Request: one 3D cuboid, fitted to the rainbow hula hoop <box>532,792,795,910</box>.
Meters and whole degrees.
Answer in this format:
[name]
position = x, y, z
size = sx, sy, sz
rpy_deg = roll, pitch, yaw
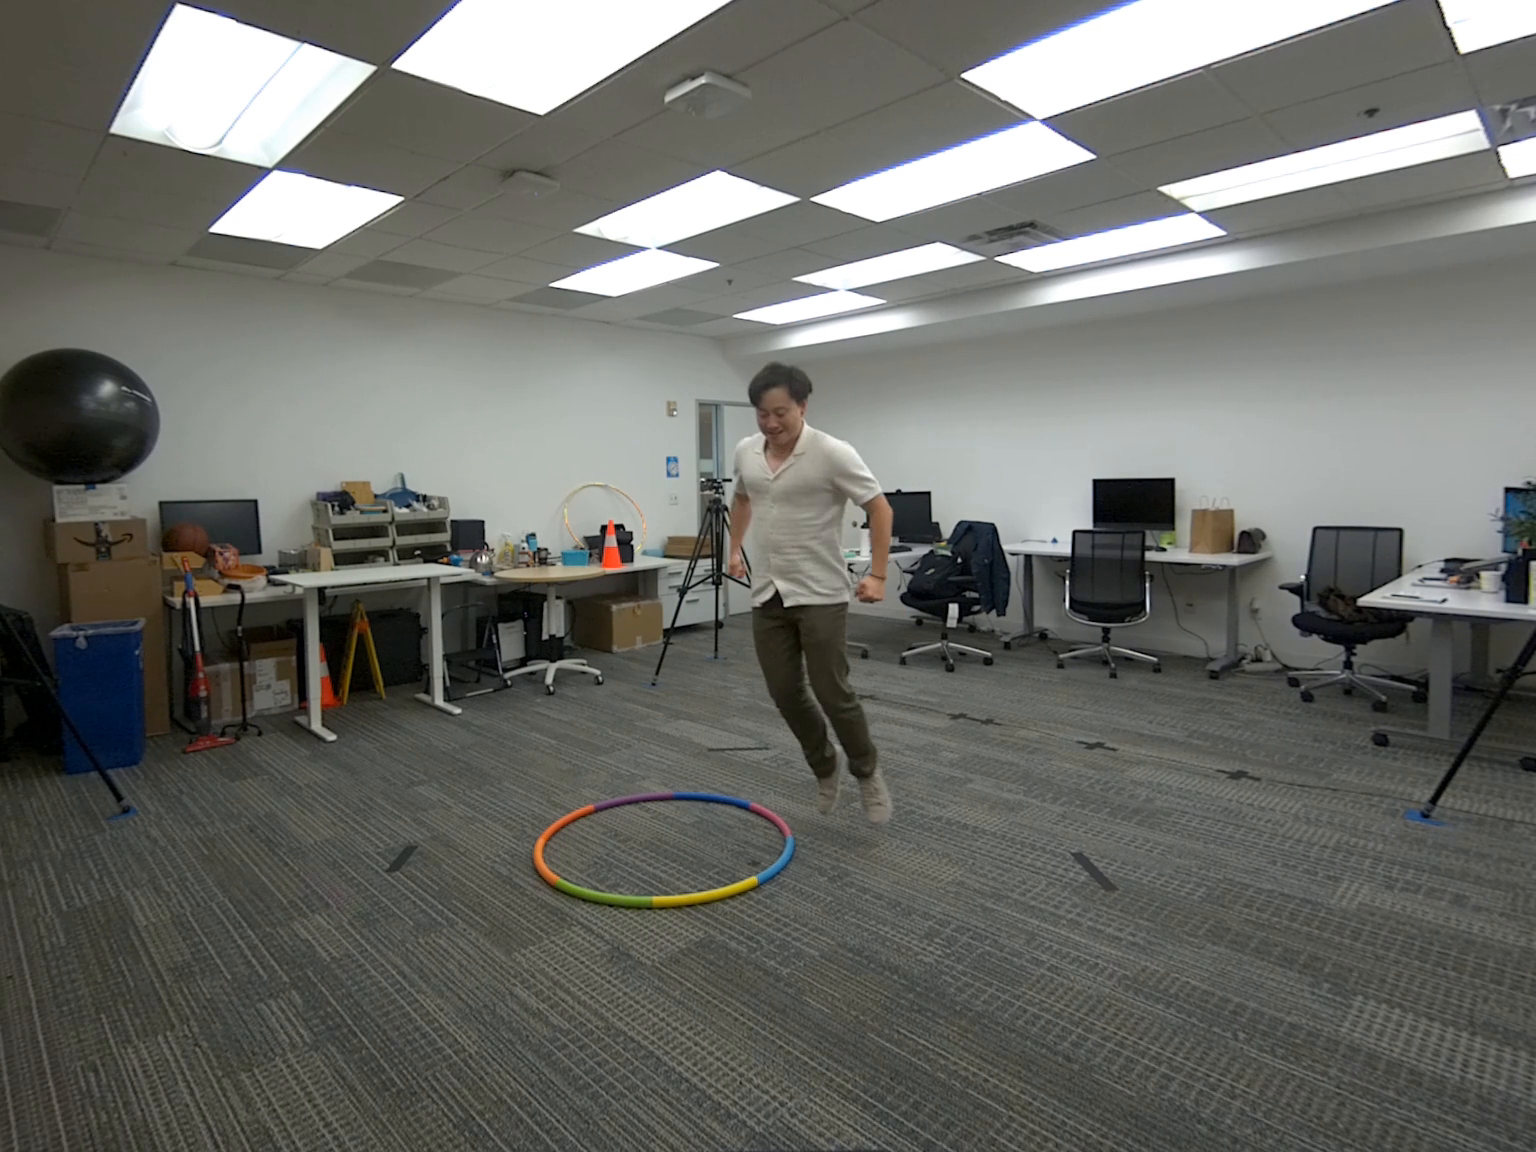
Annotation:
[rainbow hula hoop]
position = -0.390, 1.003, 3.271
size = 0.978, 0.035, 0.984
rpy_deg = -1, 6, -2
